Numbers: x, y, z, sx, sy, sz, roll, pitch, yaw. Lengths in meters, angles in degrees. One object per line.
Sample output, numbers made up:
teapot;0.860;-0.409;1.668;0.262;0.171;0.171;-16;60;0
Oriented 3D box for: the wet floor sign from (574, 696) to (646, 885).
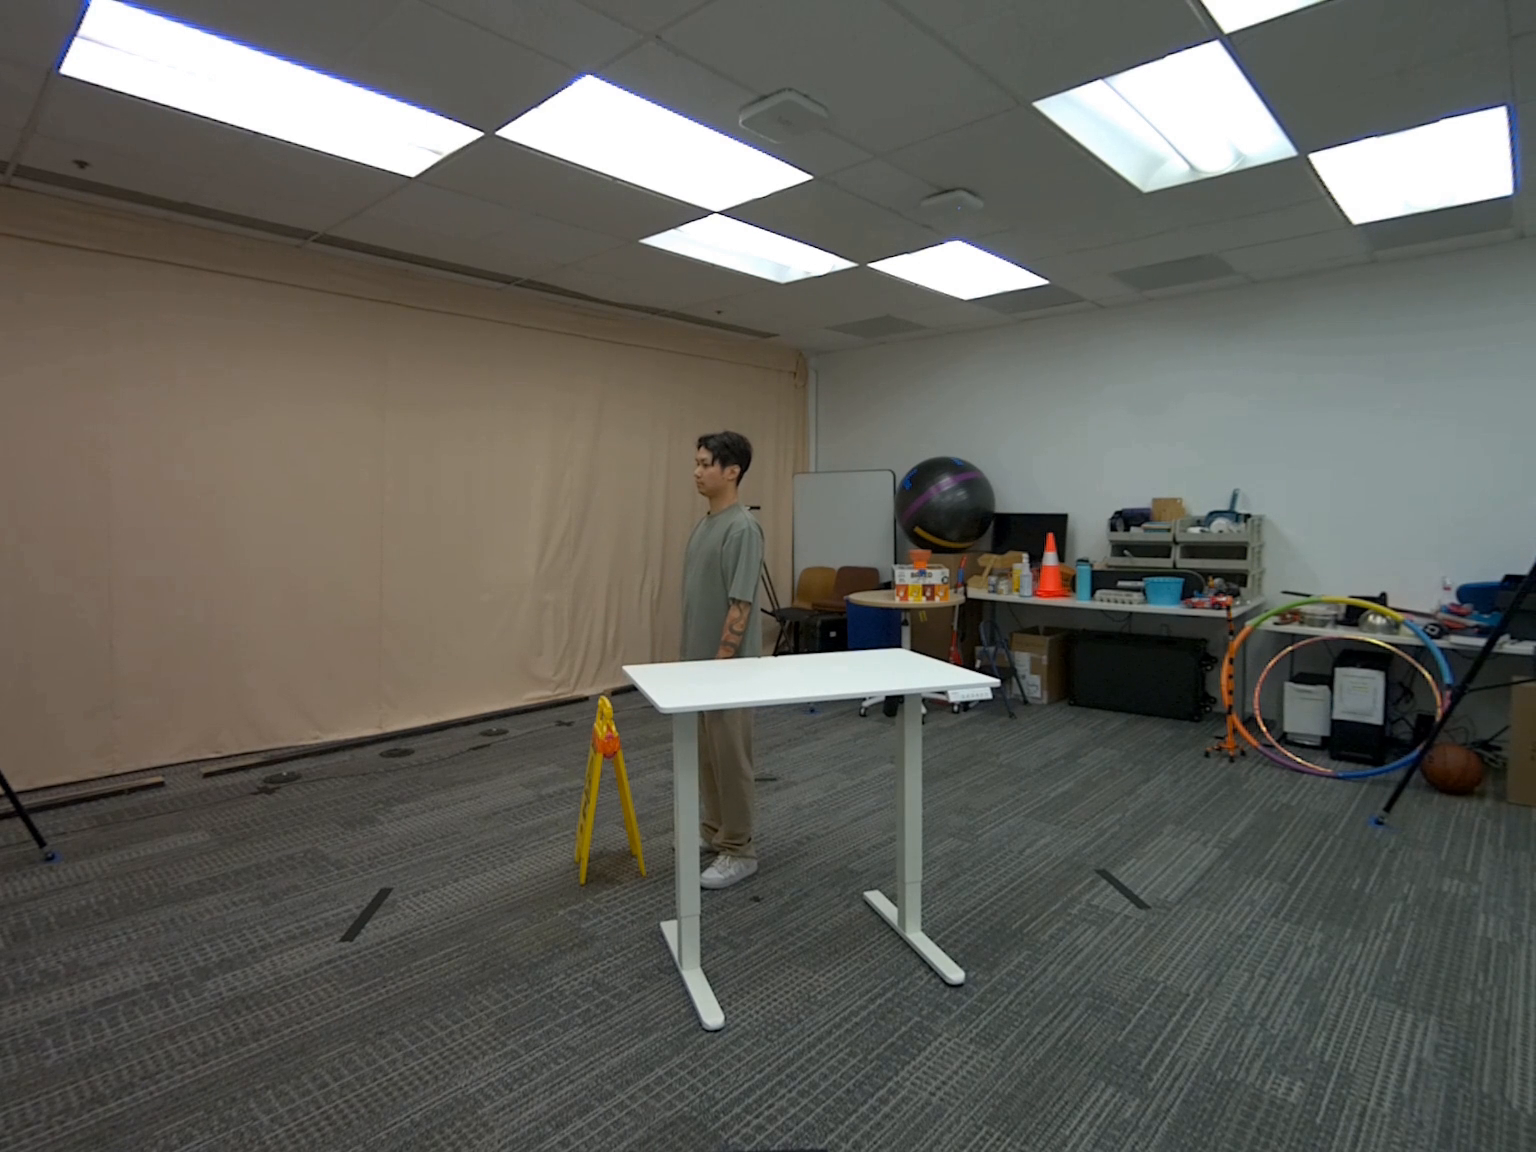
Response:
wet floor sign;-0.621;0.802;3.250;0.285;0.645;0.287;-3;1;-16
